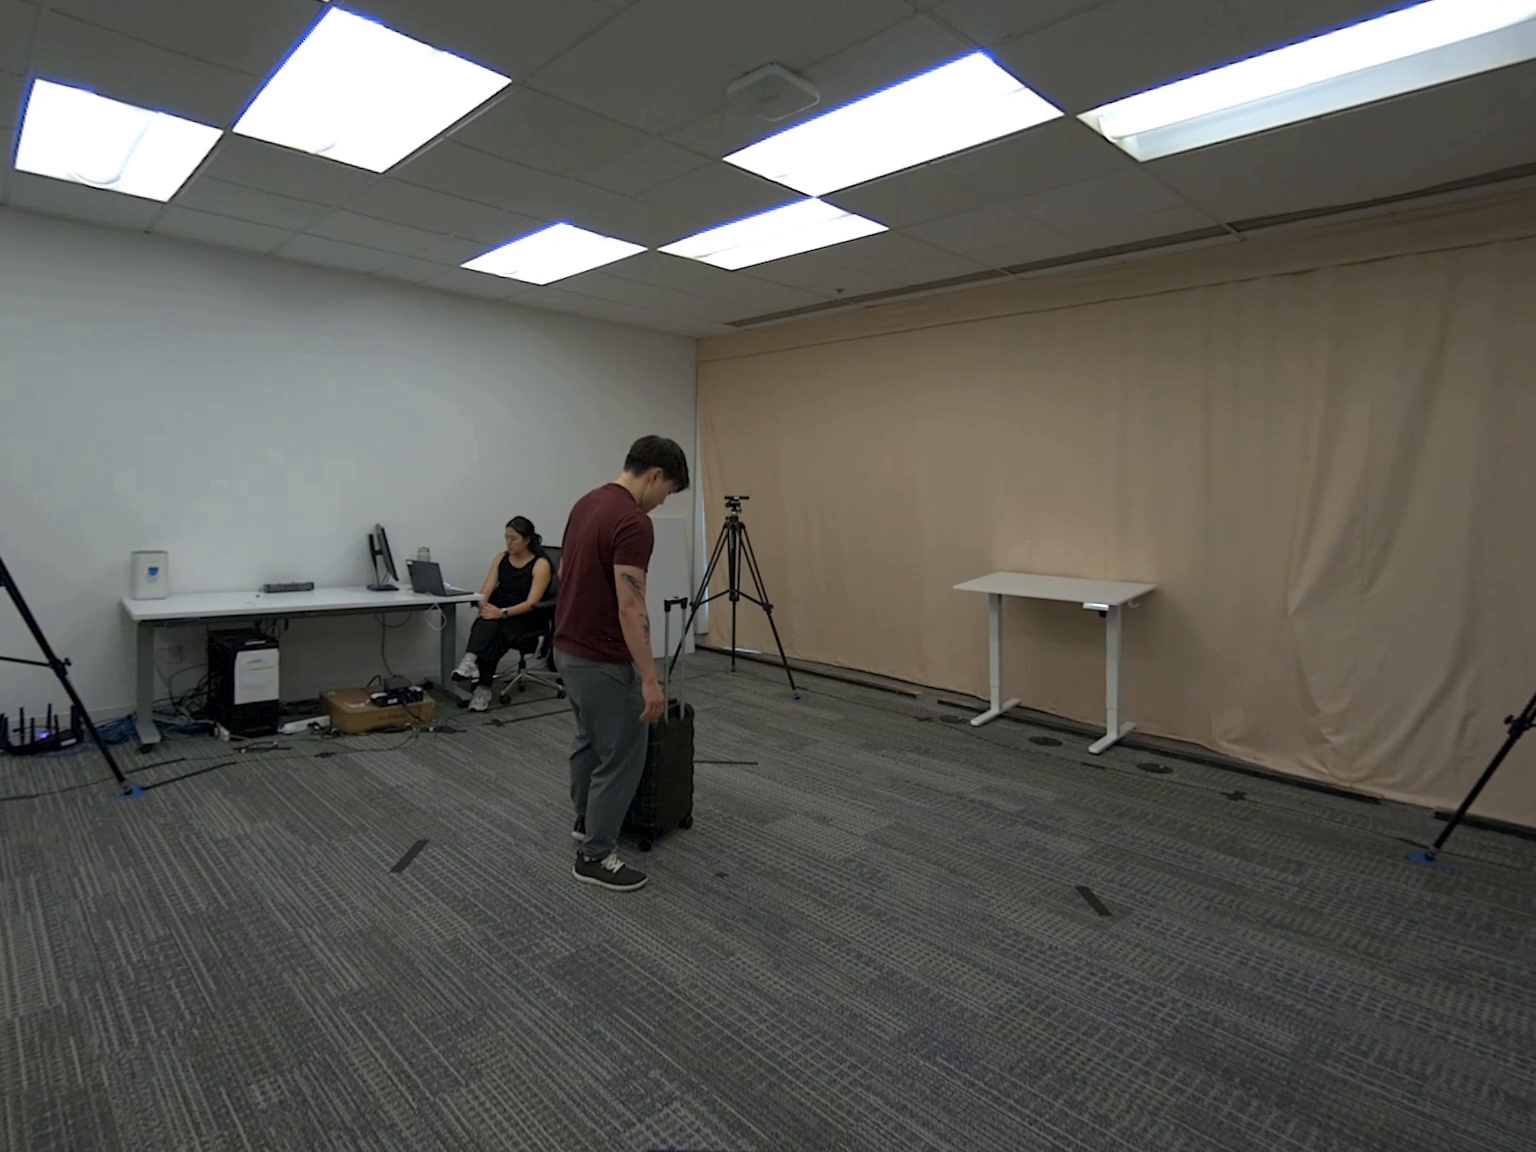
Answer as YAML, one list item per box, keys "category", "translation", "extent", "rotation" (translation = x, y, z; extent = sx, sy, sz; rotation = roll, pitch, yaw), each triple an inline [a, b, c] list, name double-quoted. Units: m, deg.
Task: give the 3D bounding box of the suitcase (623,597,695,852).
- category: "suitcase"
  translation: [-0.488, 0.584, 3.464]
  extent: [0.262, 0.977, 0.377]
  rotation: [1, 2, 24]
